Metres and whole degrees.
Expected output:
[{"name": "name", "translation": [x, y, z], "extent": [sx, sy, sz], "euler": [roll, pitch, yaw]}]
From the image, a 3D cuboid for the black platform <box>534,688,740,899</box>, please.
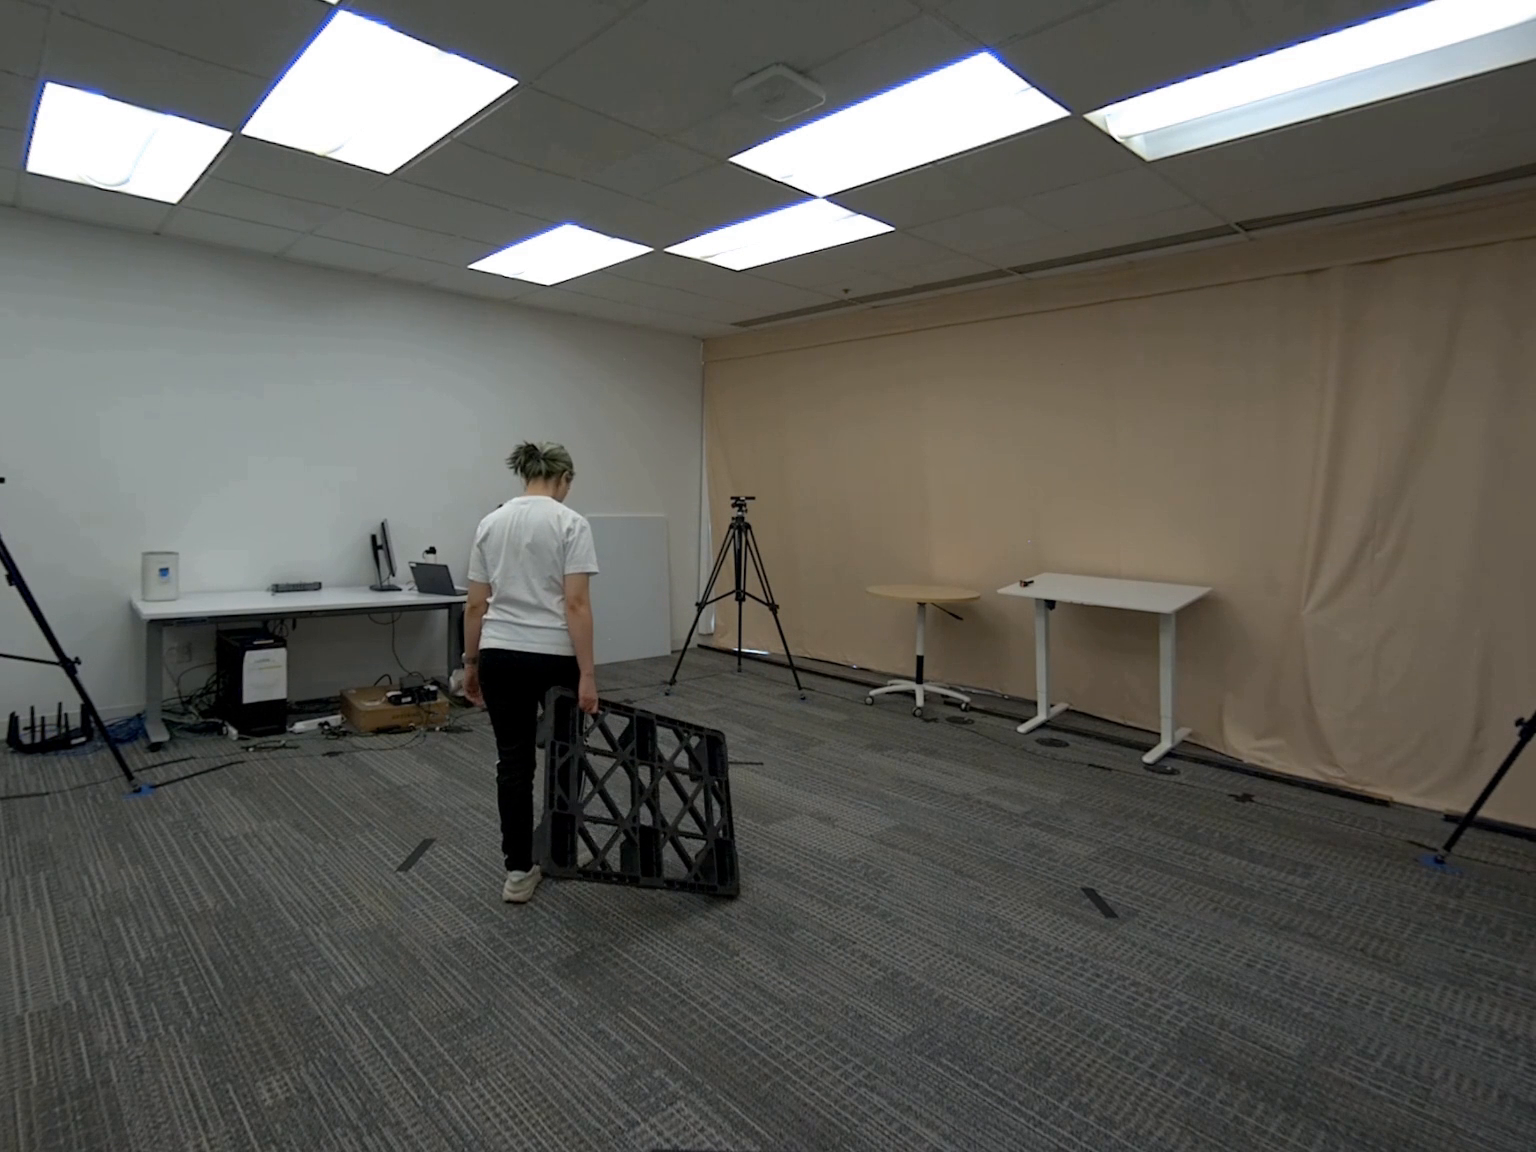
[{"name": "black platform", "translation": [-0.450, 0.768, 2.873], "extent": [0.144, 0.618, 0.781], "euler": [-31, -39, 33]}]
